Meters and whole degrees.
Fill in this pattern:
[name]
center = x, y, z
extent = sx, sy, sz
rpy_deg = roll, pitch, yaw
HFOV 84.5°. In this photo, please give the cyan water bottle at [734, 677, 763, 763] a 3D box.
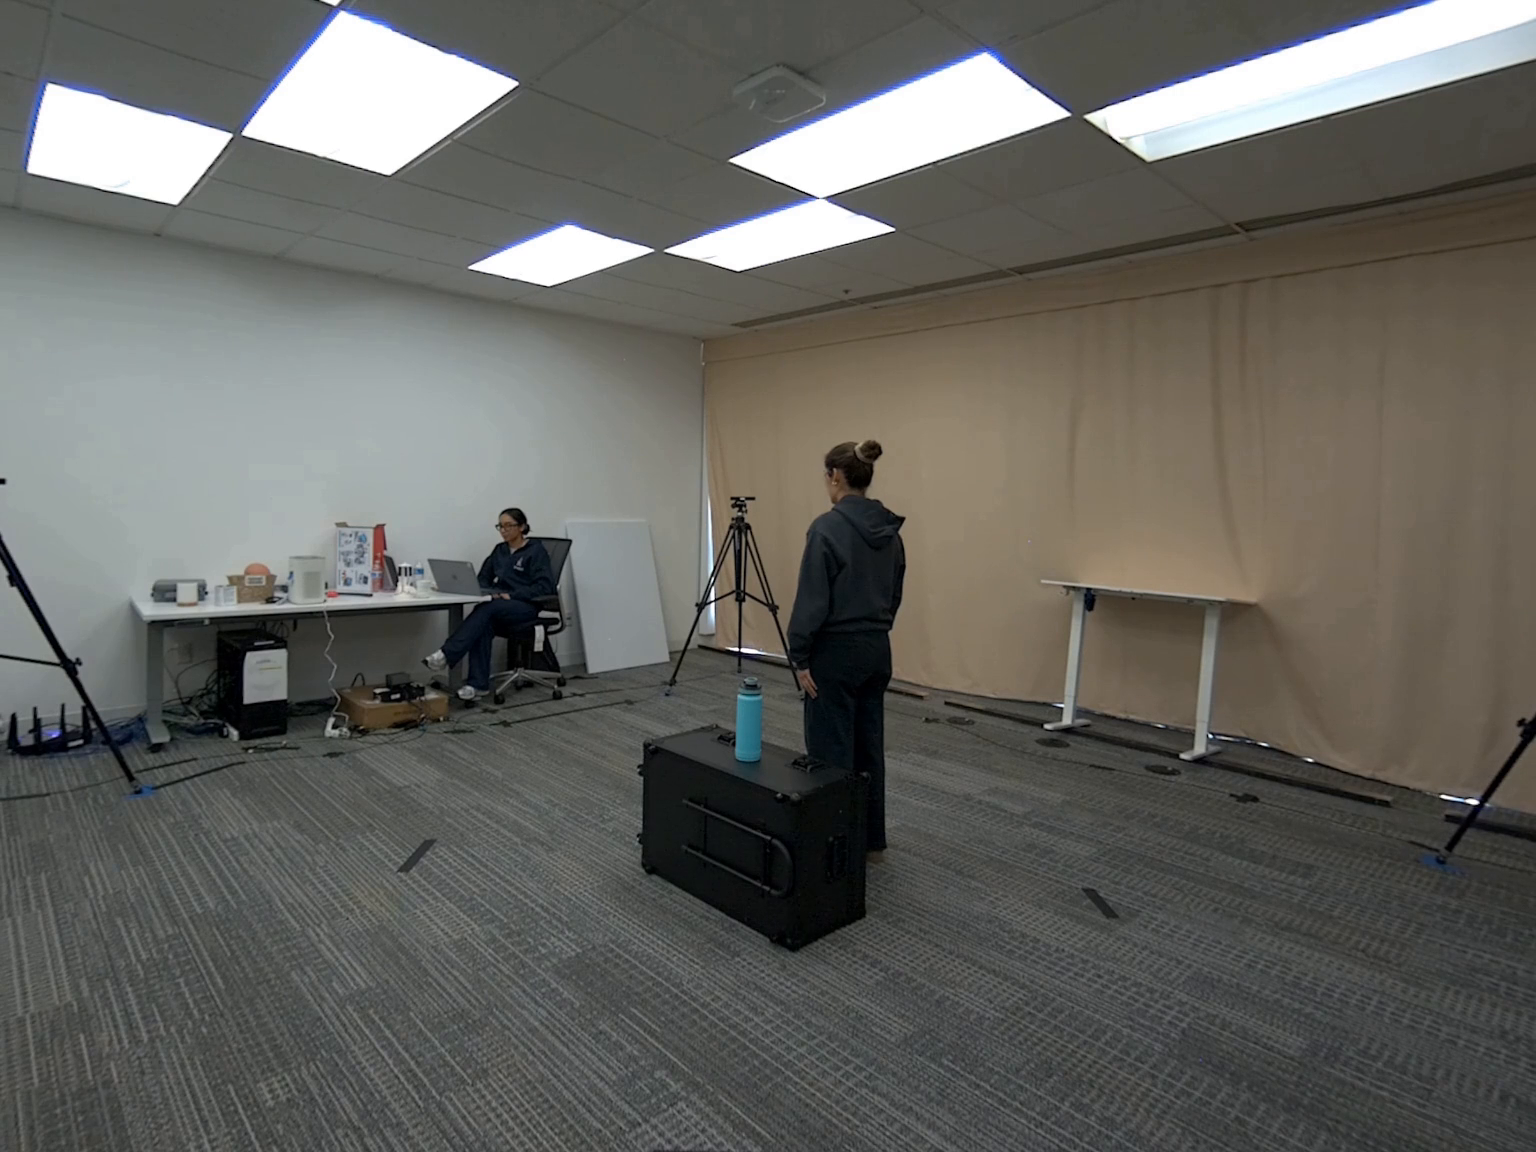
[cyan water bottle]
center = -0.072, 0.498, 2.957
extent = 0.092, 0.283, 0.092
rpy_deg = 2, 2, -1
